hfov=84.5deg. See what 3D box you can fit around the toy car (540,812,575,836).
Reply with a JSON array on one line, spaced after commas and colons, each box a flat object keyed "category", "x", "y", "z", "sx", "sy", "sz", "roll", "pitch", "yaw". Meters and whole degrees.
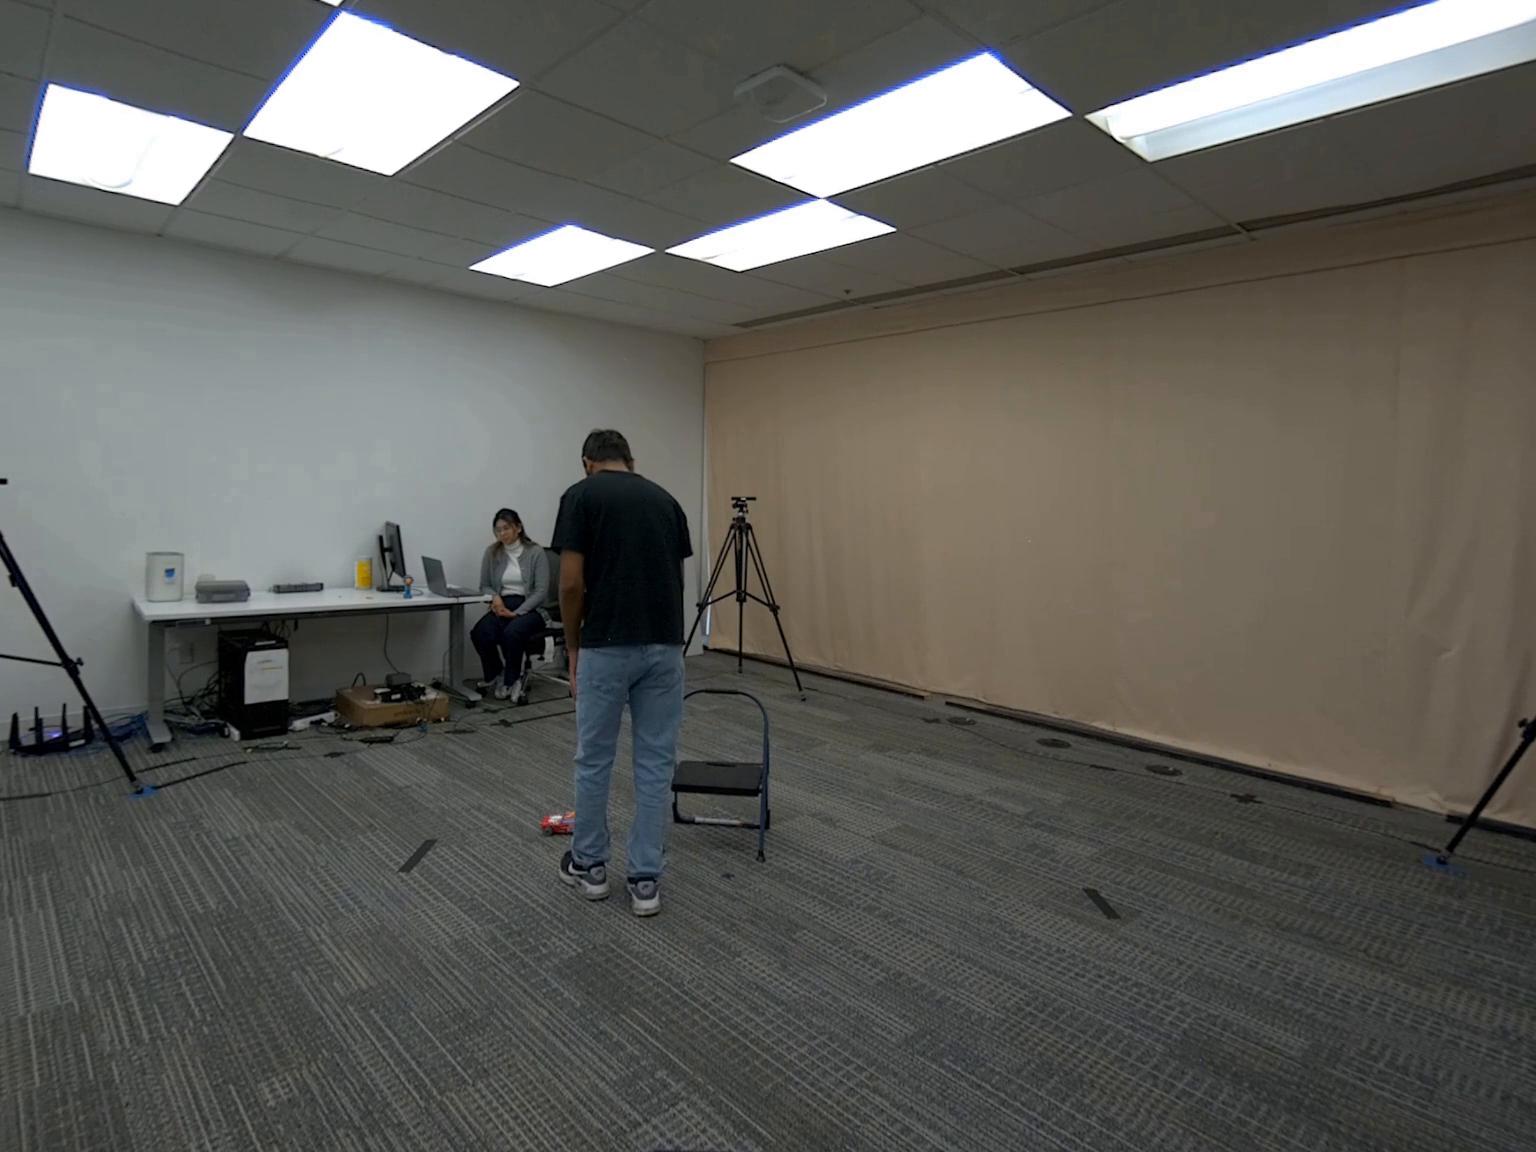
[{"category": "toy car", "x": -0.814, "y": 1.023, "z": 3.492, "sx": 0.254, "sy": 0.083, "sz": 0.131, "roll": -10, "pitch": 4, "yaw": 0}]
